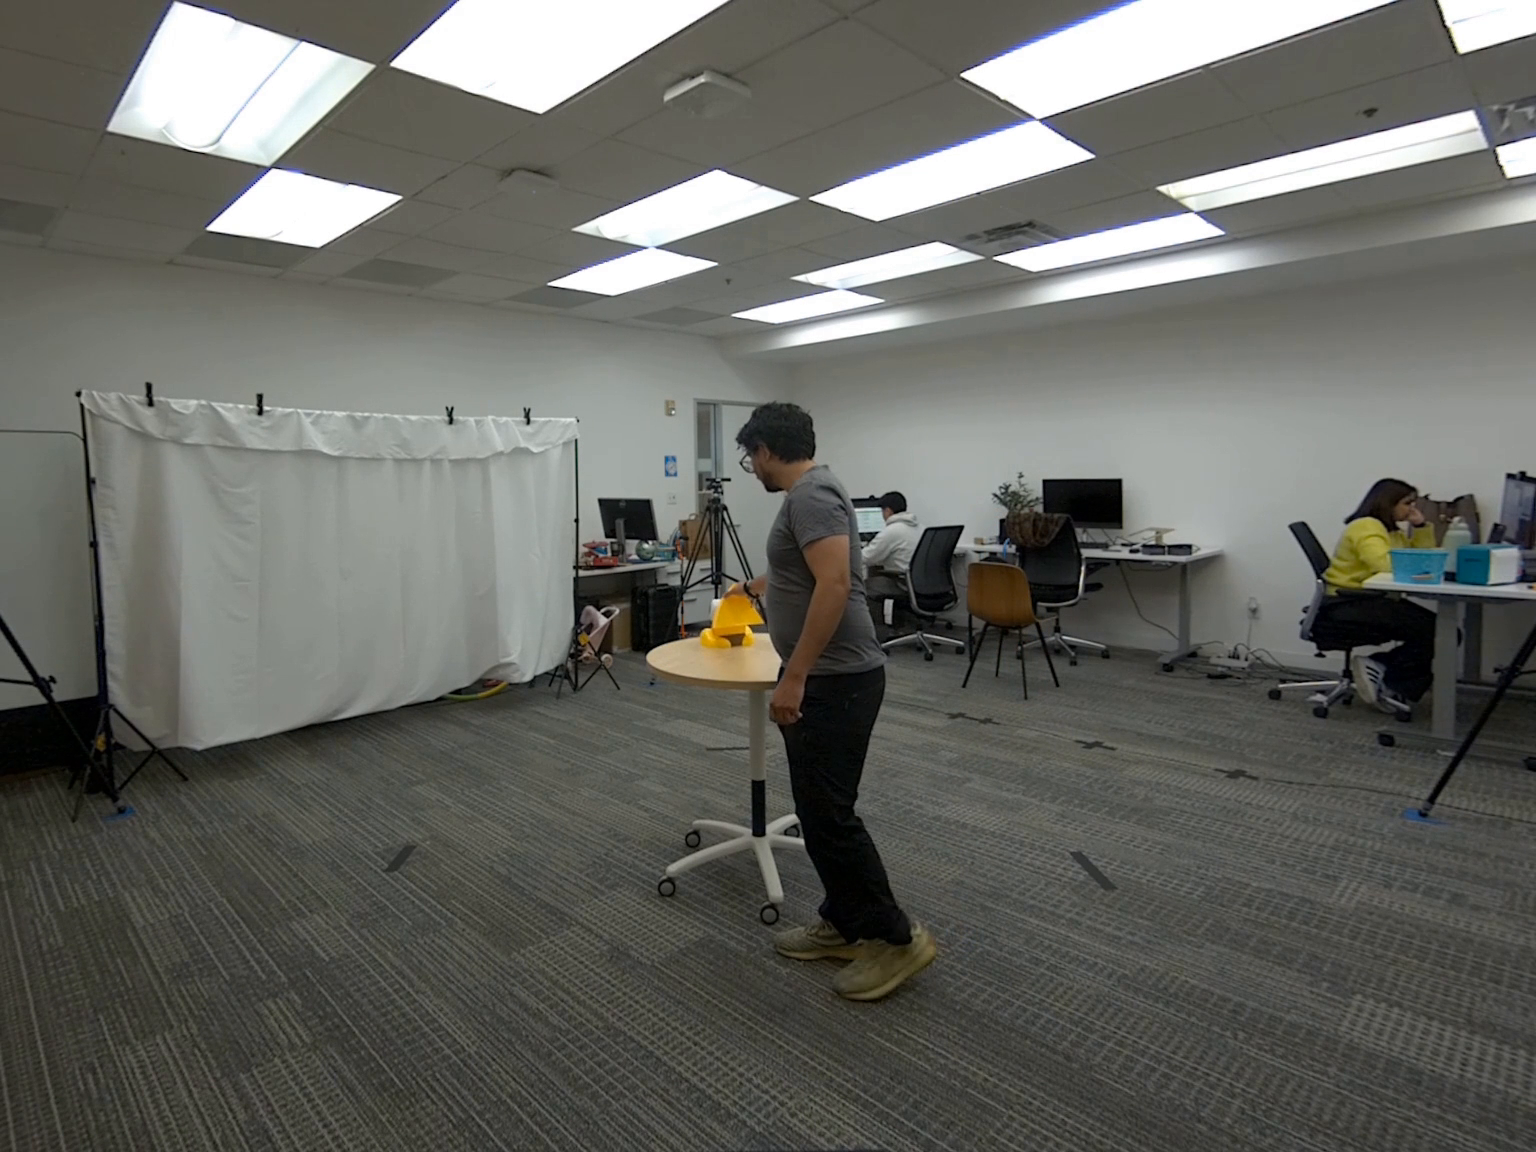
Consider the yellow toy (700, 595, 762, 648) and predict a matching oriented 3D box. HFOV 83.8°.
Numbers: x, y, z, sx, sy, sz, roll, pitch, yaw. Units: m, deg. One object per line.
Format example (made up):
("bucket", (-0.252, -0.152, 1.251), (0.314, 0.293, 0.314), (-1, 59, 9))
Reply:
("yellow toy", (-0.144, 0.137, 3.162), (0.200, 0.230, 0.198), (-3, 6, -29))
